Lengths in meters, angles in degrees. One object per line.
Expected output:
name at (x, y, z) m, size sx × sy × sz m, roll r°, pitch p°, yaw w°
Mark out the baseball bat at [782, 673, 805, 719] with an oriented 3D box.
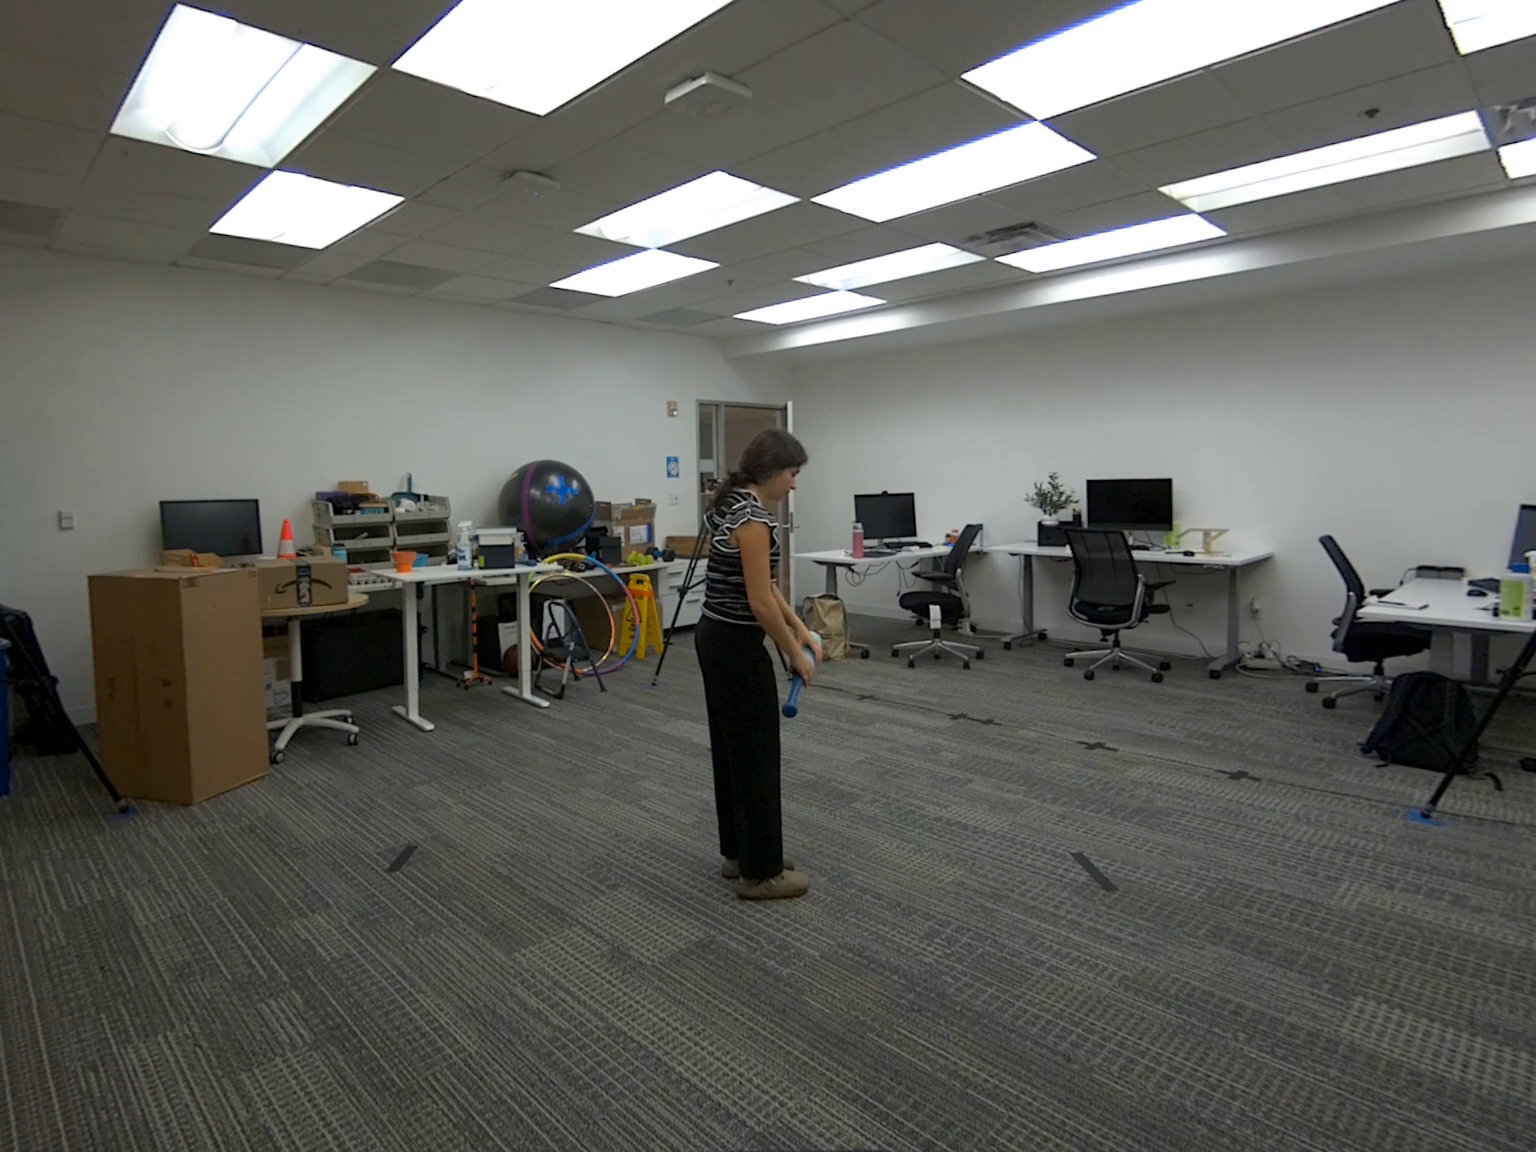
baseball bat at (0.109, 0.340, 2.935) m, size 0.090 × 0.087 × 0.547 m, roll -1°, pitch 20°, yaw 8°
